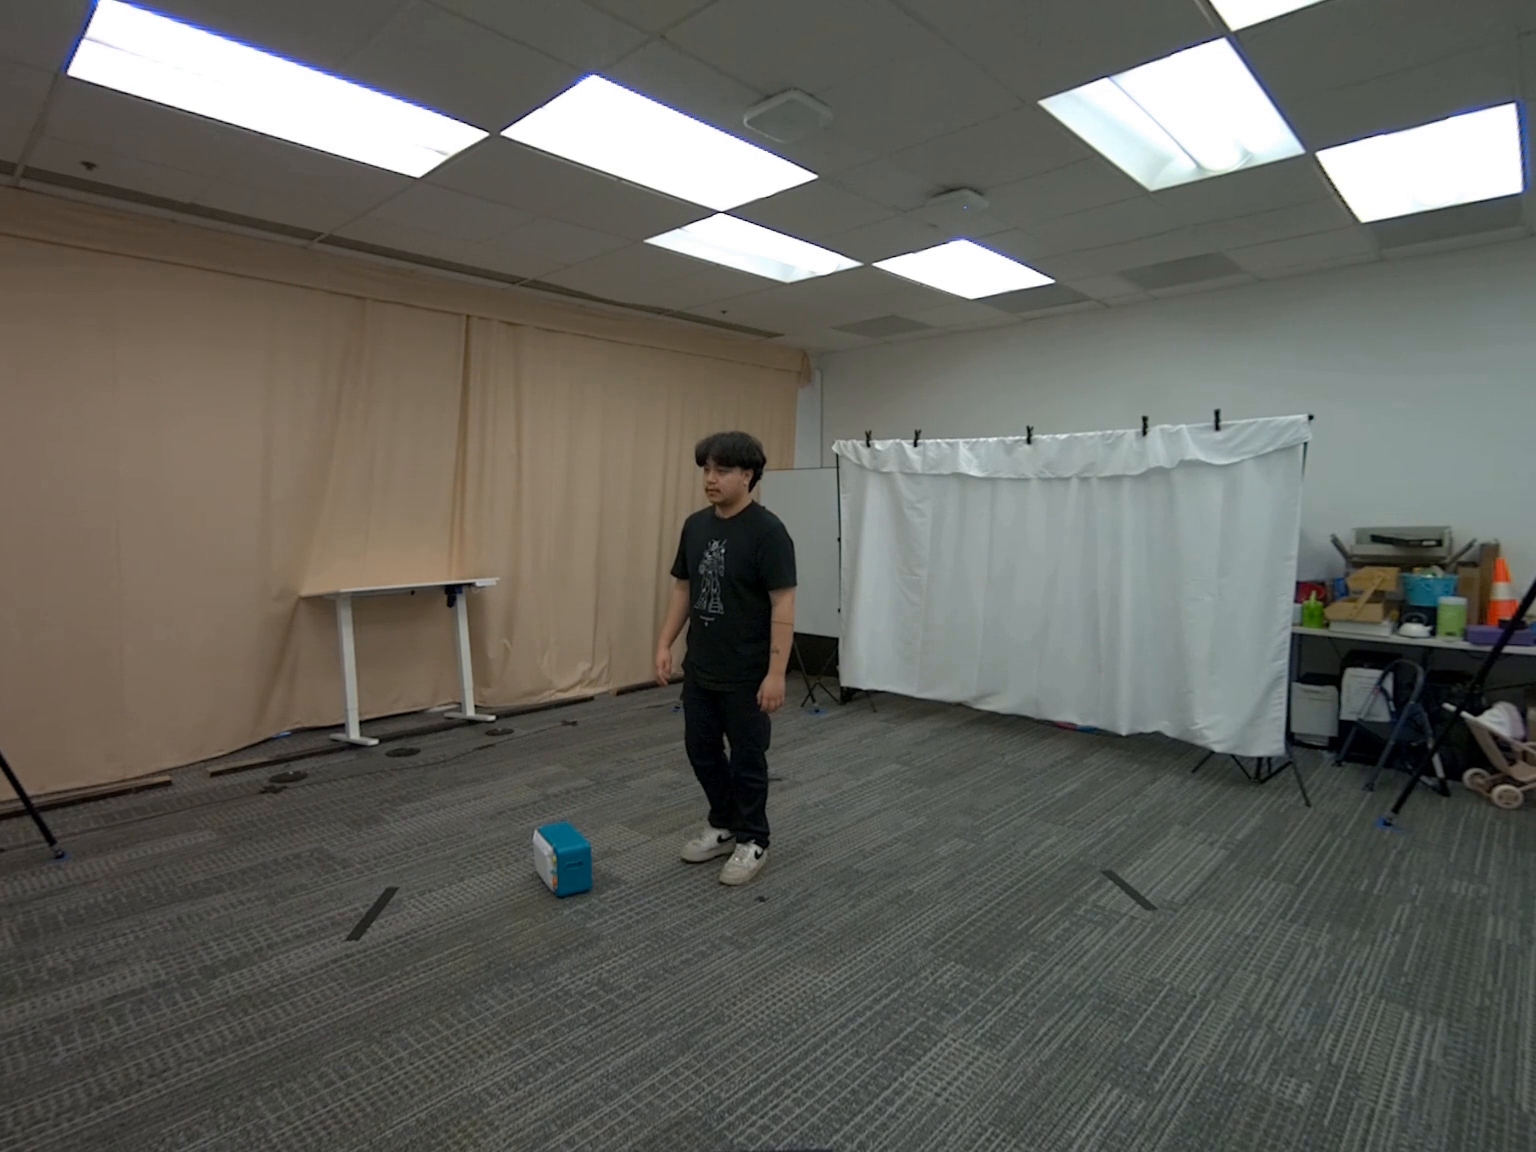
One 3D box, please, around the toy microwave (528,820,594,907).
[{"bbox_3d":[-0.770,1.052,3.126,0.148,0.184,0.294,-2,5,-31],"label":"toy microwave"}]
